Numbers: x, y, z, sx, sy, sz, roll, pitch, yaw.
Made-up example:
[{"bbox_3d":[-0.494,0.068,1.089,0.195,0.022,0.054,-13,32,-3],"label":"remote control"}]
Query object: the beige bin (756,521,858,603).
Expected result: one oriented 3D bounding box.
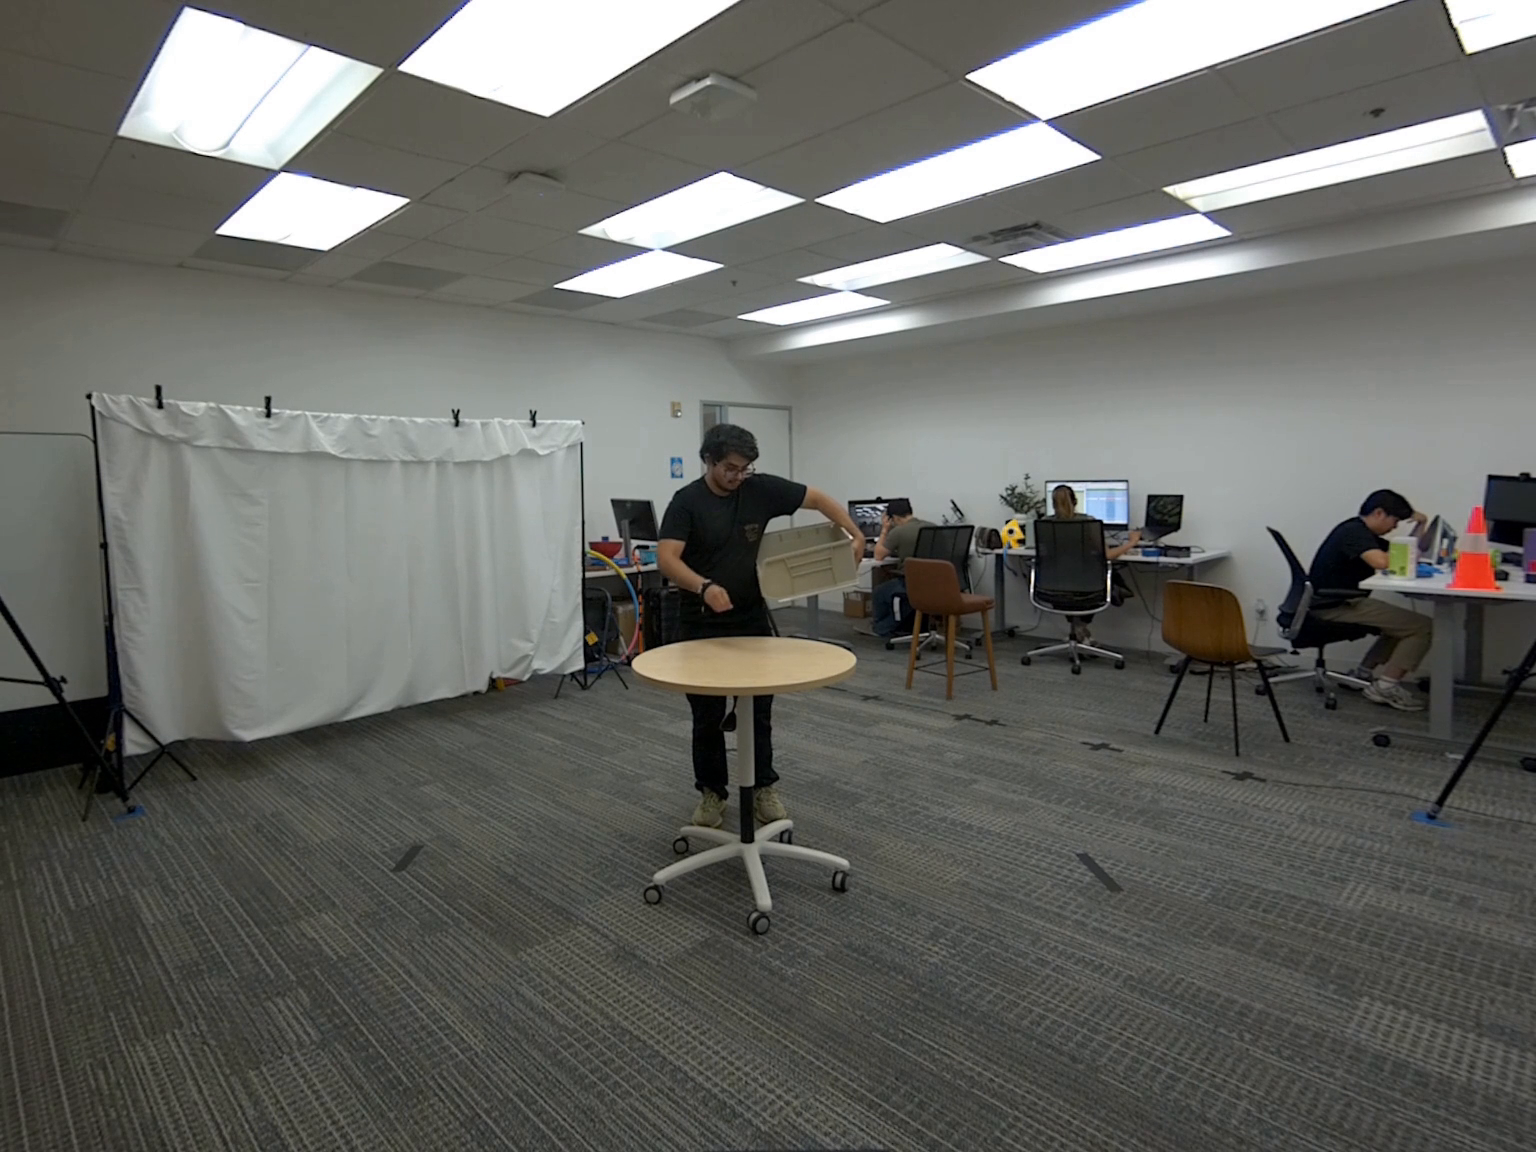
[{"bbox_3d":[0.140,-0.062,3.386,0.377,0.186,0.428,-11,13,-1],"label":"beige bin"}]
